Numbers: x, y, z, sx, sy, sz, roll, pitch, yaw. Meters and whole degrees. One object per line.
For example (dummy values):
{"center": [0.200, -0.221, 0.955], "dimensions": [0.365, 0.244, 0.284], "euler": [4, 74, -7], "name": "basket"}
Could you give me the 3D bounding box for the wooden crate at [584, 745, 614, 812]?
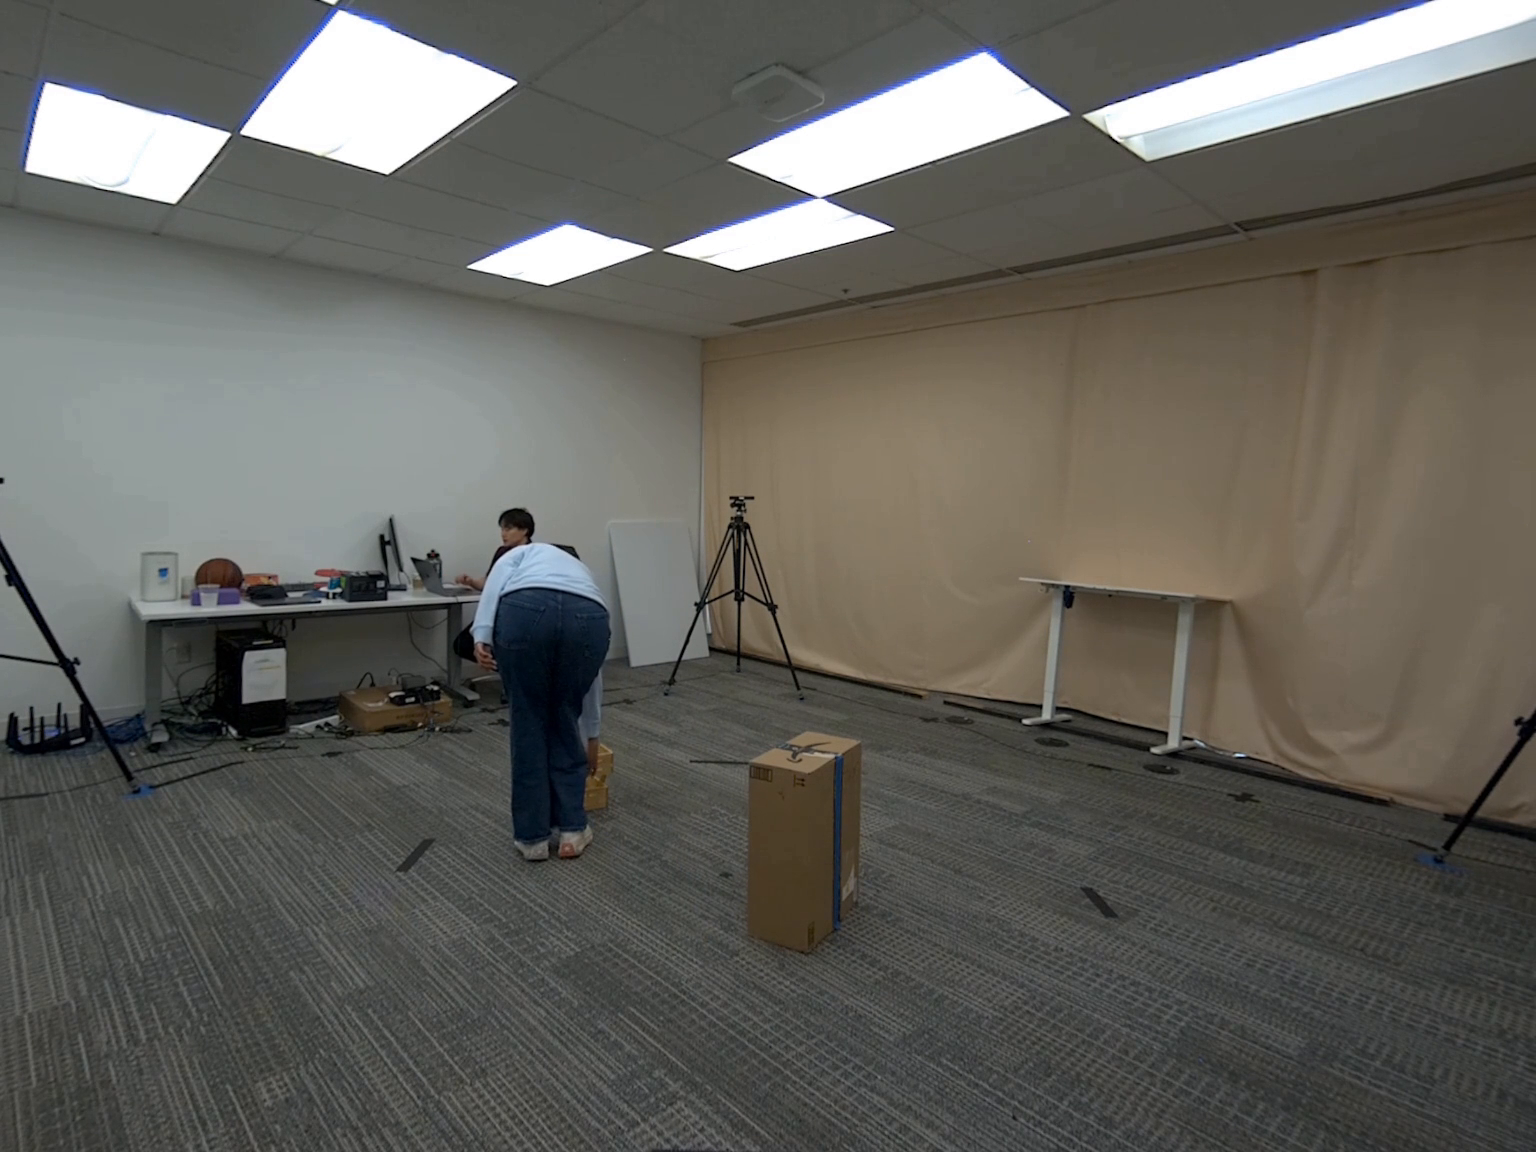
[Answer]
{"center": [-0.898, 0.899, 3.764], "dimensions": [0.317, 0.272, 0.309], "euler": [-1, 6, -33], "name": "wooden crate"}
